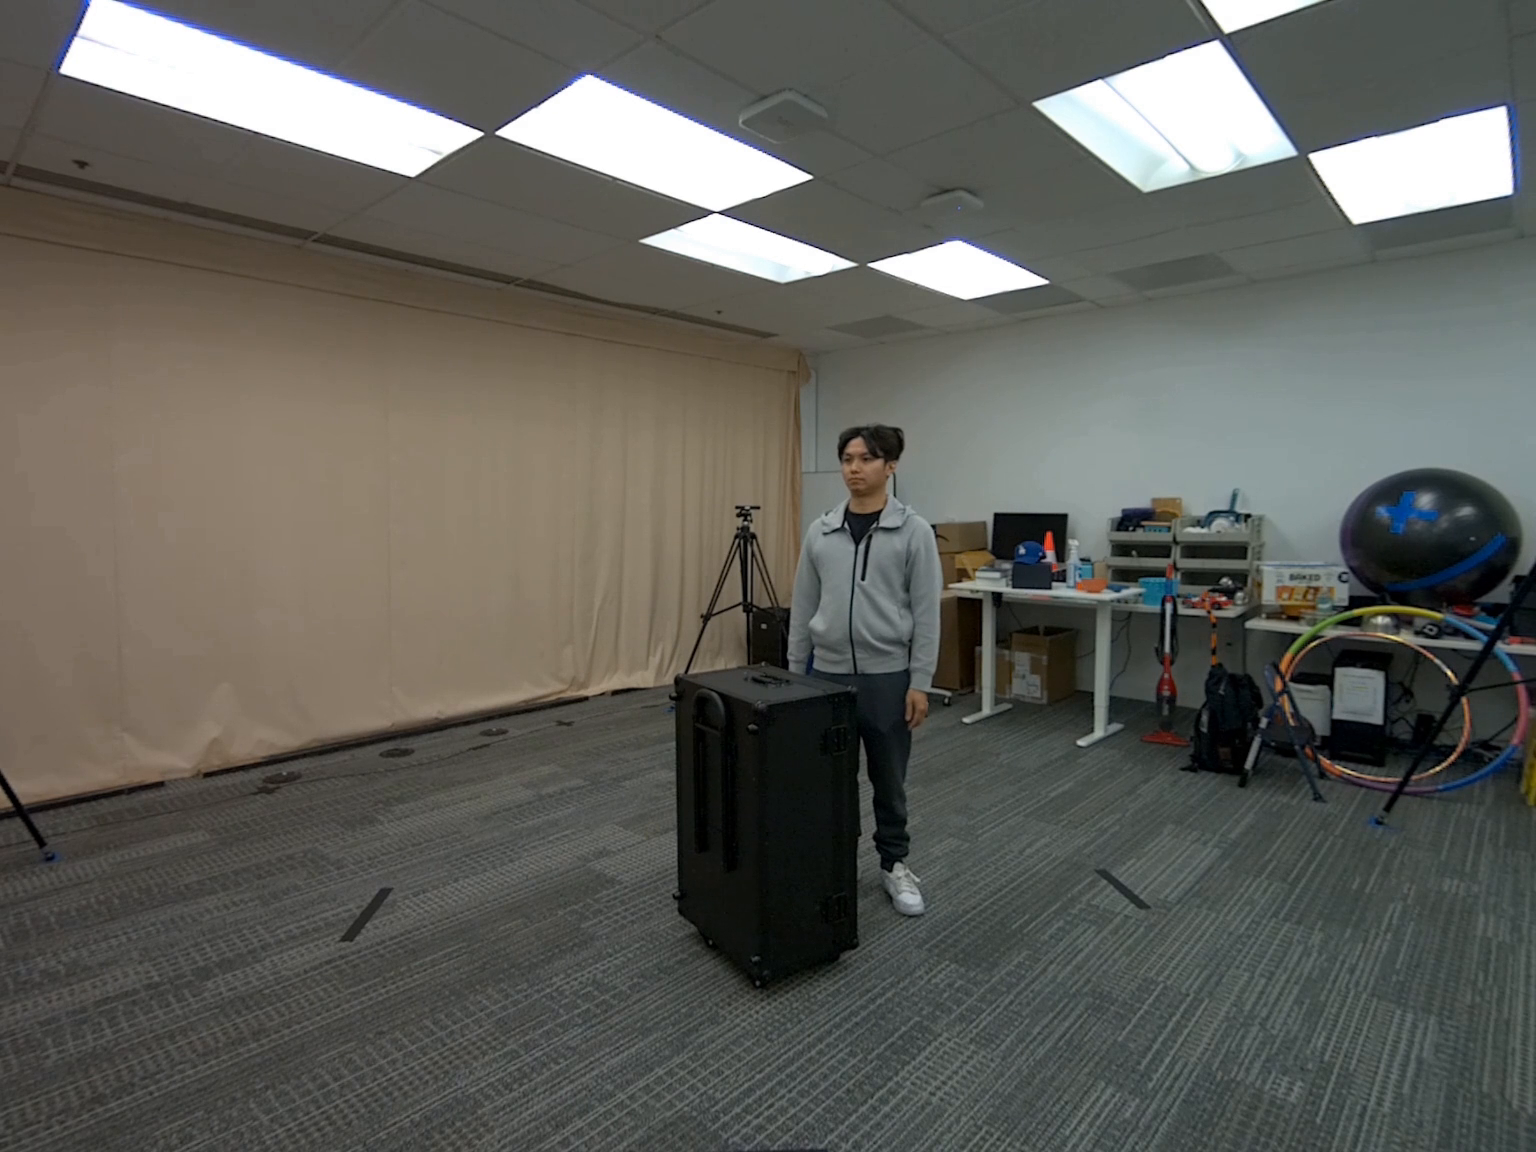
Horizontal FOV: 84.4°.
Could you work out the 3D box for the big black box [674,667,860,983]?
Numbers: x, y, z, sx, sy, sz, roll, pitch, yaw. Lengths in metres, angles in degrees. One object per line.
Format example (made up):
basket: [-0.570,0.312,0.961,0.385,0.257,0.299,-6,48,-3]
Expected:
big black box: [-0.023,0.754,2.595,0.385,0.859,0.537,-4,5,-32]
